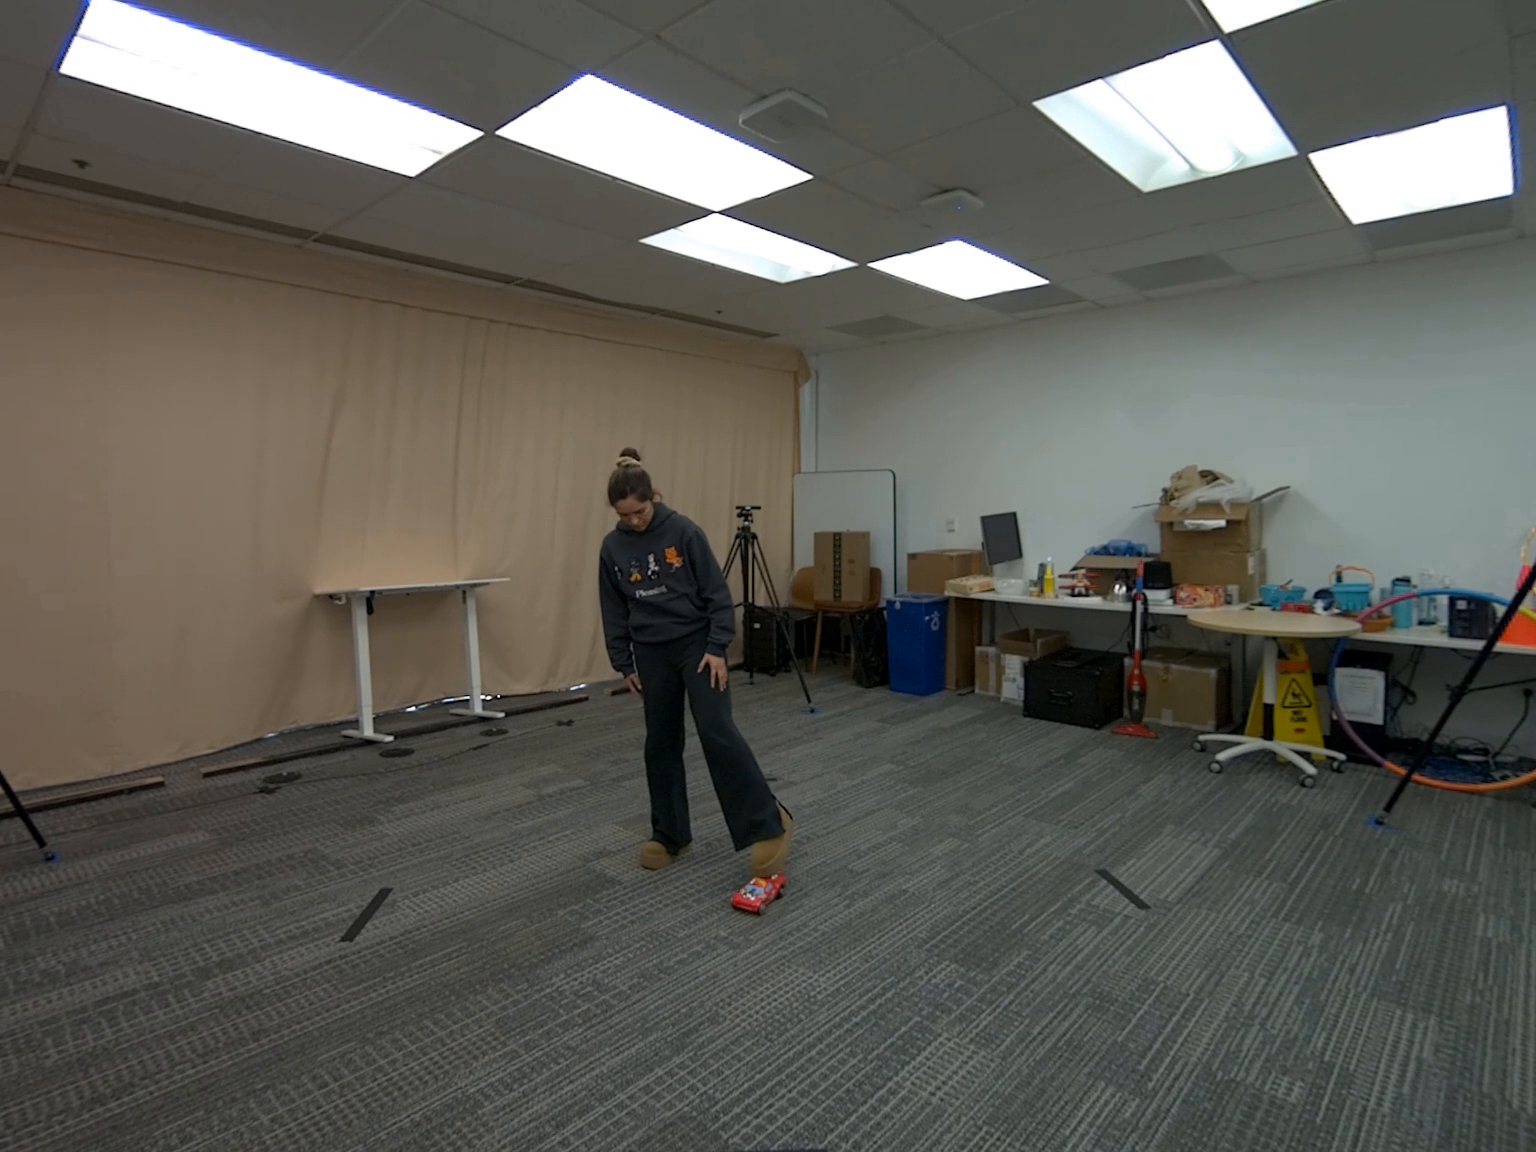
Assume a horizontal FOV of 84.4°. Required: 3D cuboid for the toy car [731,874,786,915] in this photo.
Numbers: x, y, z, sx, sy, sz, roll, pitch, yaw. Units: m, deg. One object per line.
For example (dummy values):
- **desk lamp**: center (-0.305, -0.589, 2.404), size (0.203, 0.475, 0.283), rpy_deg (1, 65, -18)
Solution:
- **toy car**: center (-0.002, 1.113, 2.969), size (0.134, 0.082, 0.249), rpy_deg (2, 15, 30)
